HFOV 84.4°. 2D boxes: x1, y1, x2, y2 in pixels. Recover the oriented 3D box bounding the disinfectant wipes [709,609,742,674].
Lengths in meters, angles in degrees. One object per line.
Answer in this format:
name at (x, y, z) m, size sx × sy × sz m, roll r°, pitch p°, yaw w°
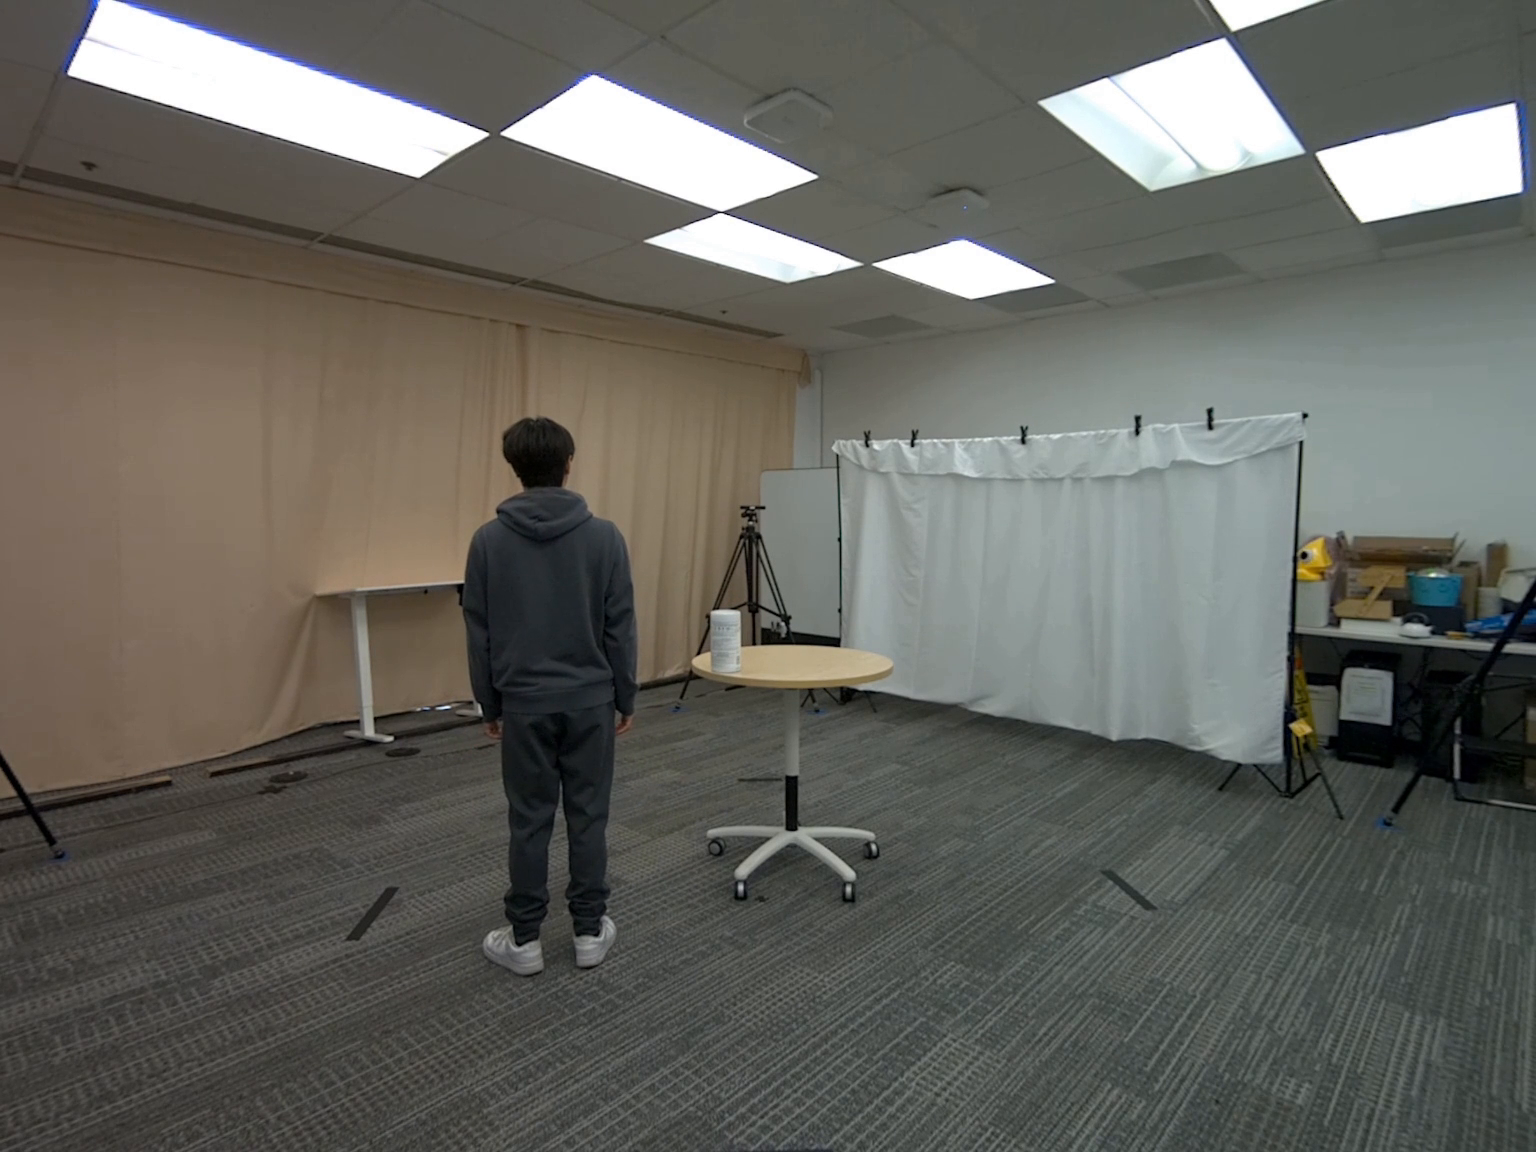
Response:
disinfectant wipes at (-0.149, 0.238, 3.033) m, size 0.118 × 0.217 × 0.118 m, roll -2°, pitch 5°, yaw -2°
